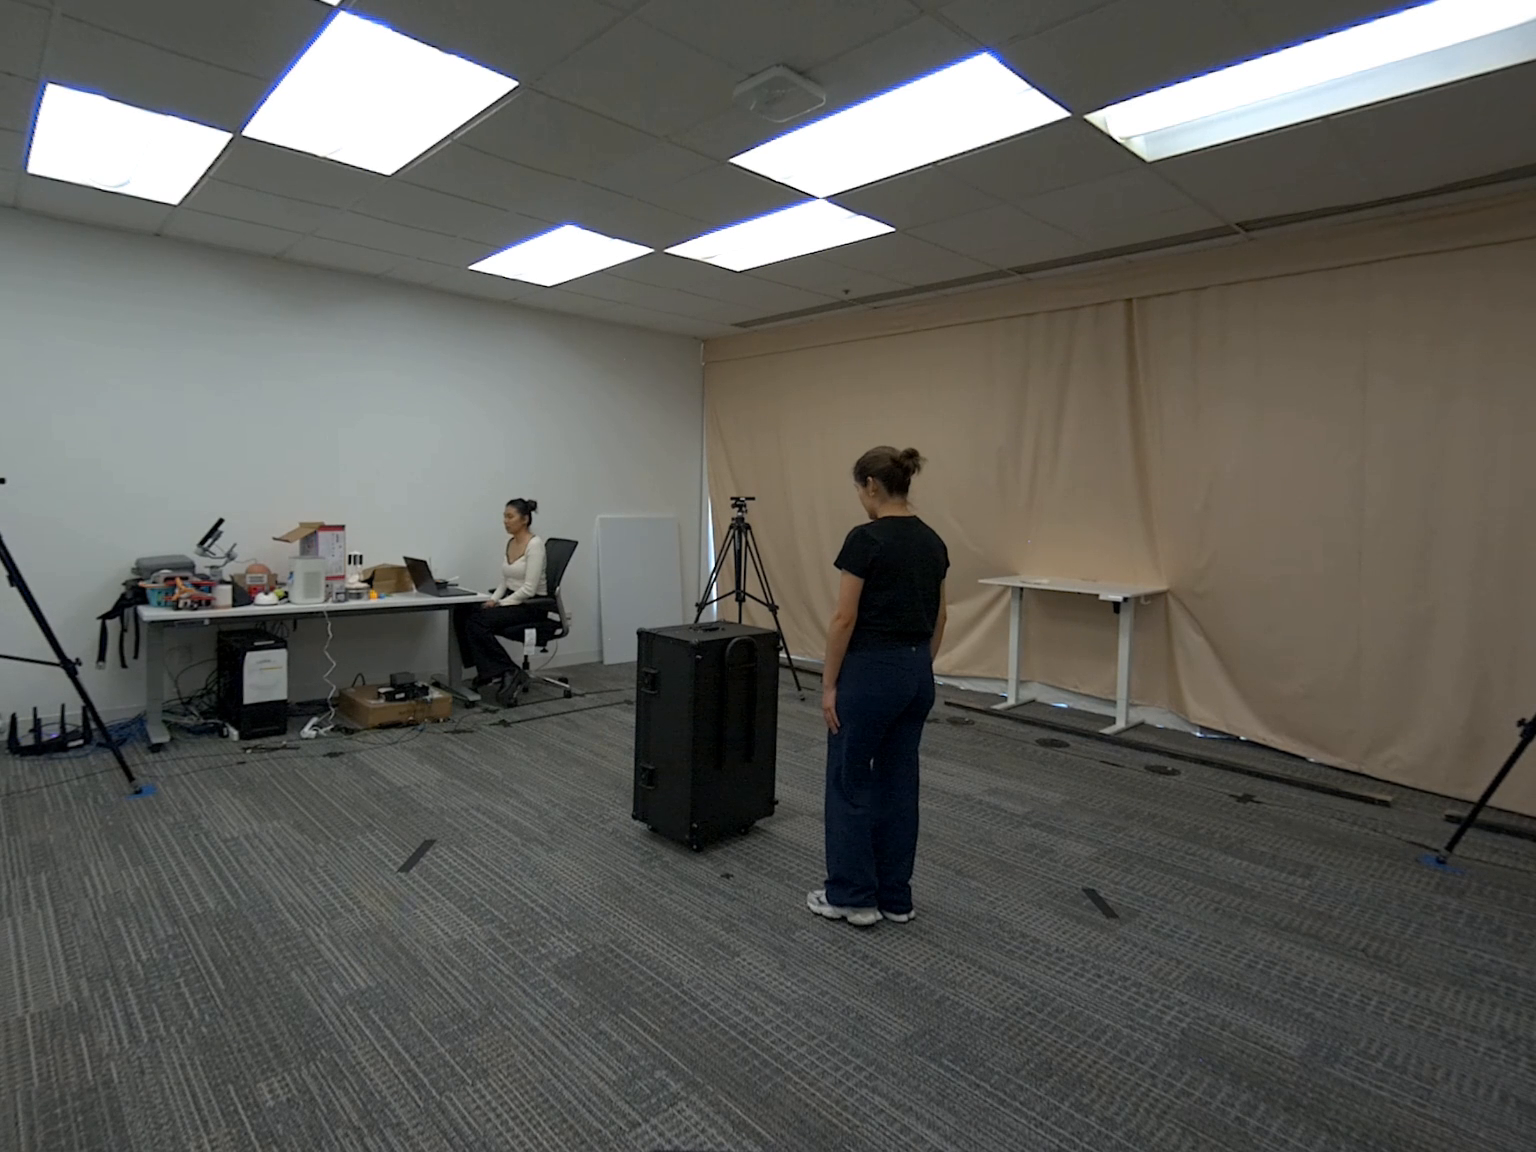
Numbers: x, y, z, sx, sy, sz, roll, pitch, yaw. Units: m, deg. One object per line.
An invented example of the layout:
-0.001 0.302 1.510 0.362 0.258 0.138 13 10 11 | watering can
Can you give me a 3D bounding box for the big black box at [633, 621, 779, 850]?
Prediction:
-0.249 0.648 3.462 0.406 0.859 0.509 6 5 44 | big black box
